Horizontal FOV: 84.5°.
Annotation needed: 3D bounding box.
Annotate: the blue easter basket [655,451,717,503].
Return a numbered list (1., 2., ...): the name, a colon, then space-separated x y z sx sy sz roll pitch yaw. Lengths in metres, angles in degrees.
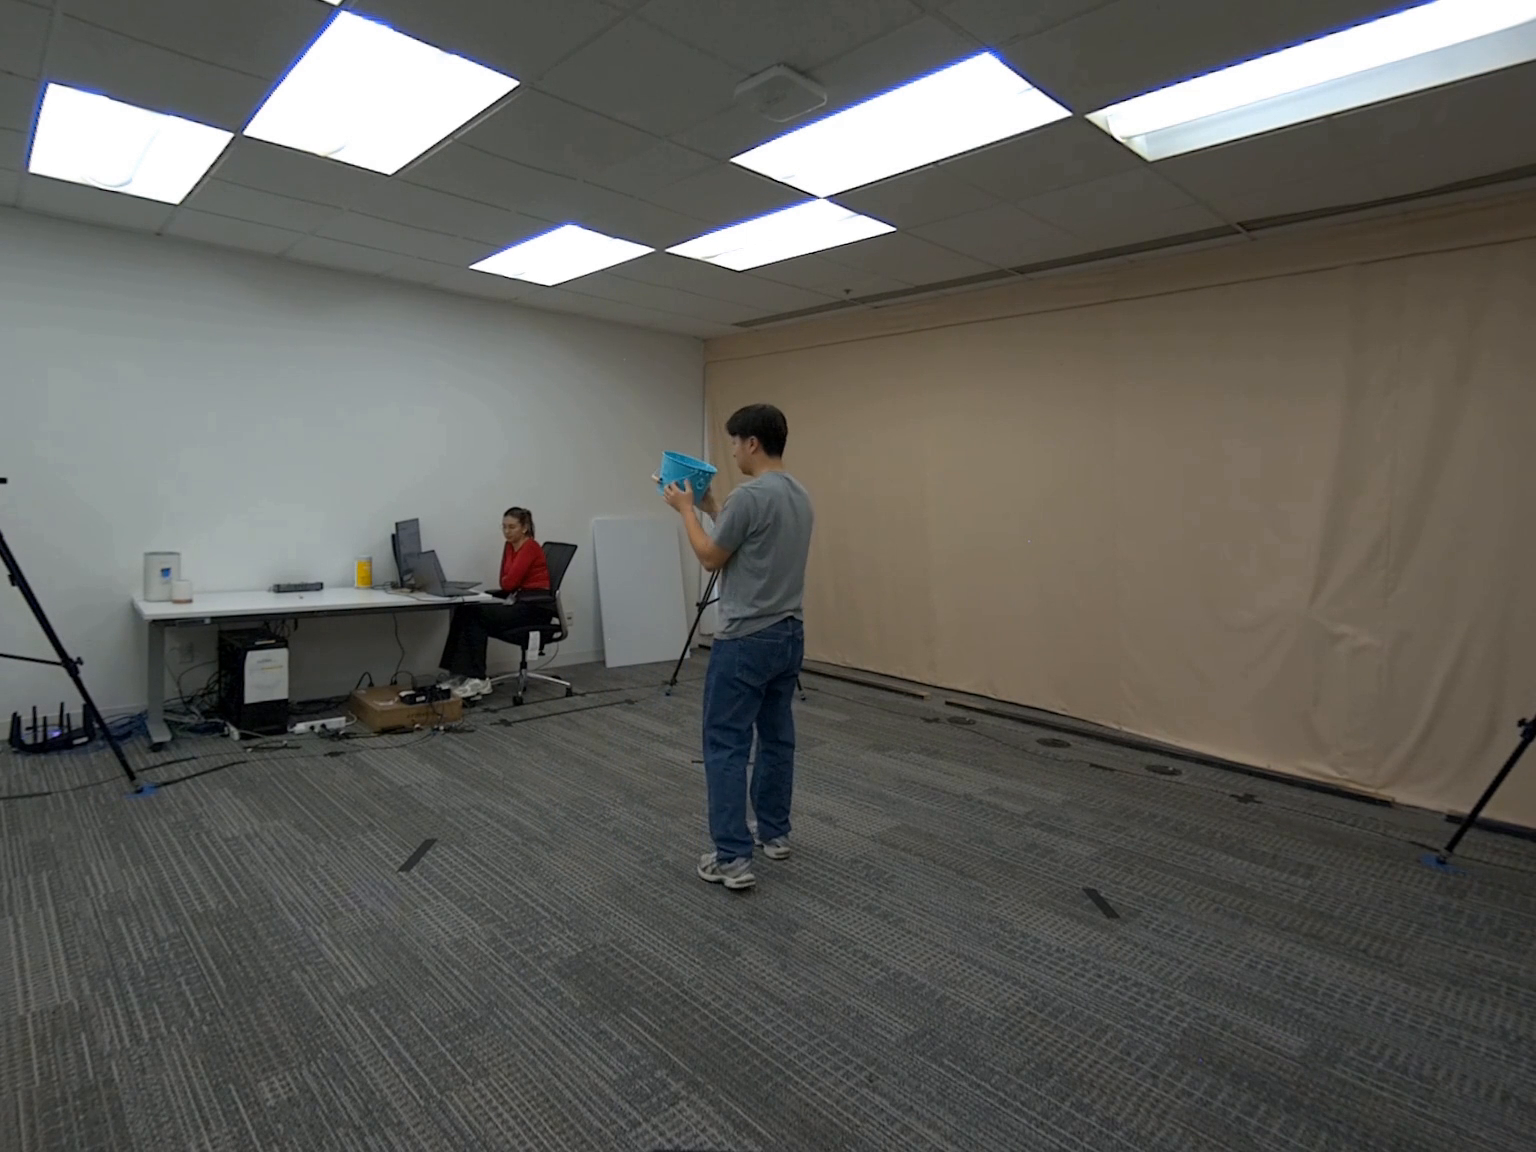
1. blue easter basket: -0.353 -0.389 3.389 0.242 0.155 0.246 21 12 -6
